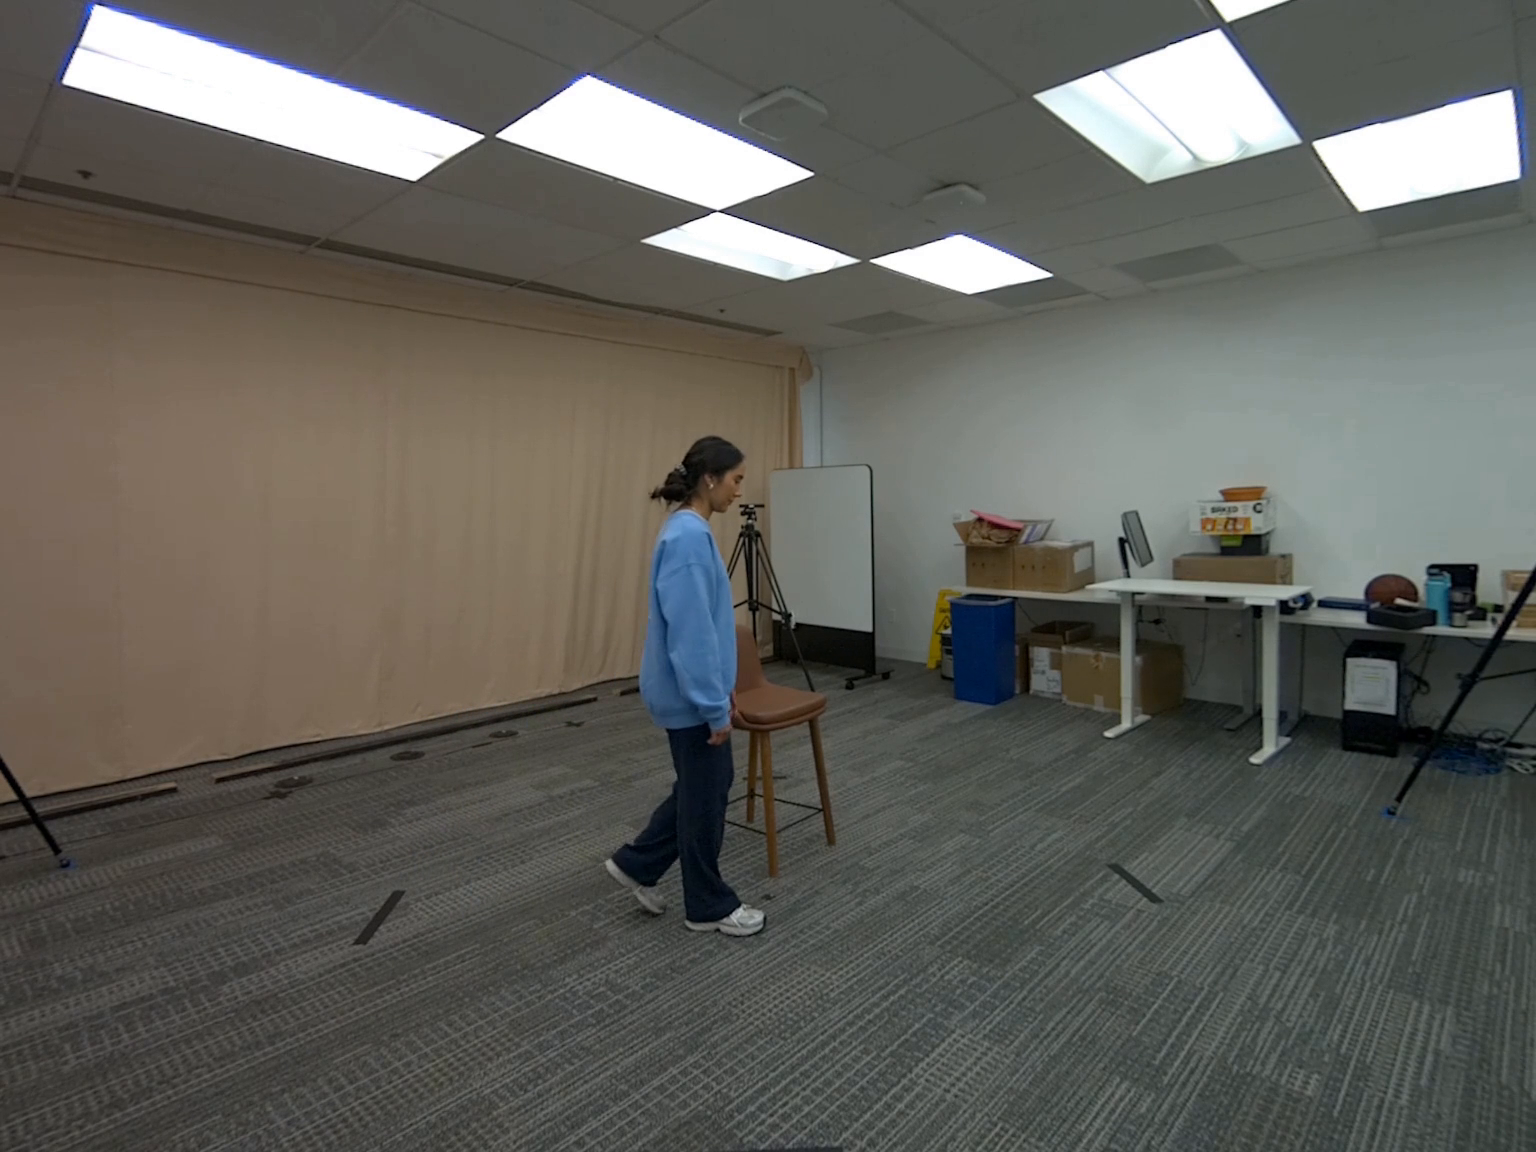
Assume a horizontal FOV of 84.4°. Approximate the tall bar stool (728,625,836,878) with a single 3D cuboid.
[{"bbox_3d":[-0.033,0.666,3.420,0.482,0.889,0.443,-1,2,41],"label":"tall bar stool"}]
